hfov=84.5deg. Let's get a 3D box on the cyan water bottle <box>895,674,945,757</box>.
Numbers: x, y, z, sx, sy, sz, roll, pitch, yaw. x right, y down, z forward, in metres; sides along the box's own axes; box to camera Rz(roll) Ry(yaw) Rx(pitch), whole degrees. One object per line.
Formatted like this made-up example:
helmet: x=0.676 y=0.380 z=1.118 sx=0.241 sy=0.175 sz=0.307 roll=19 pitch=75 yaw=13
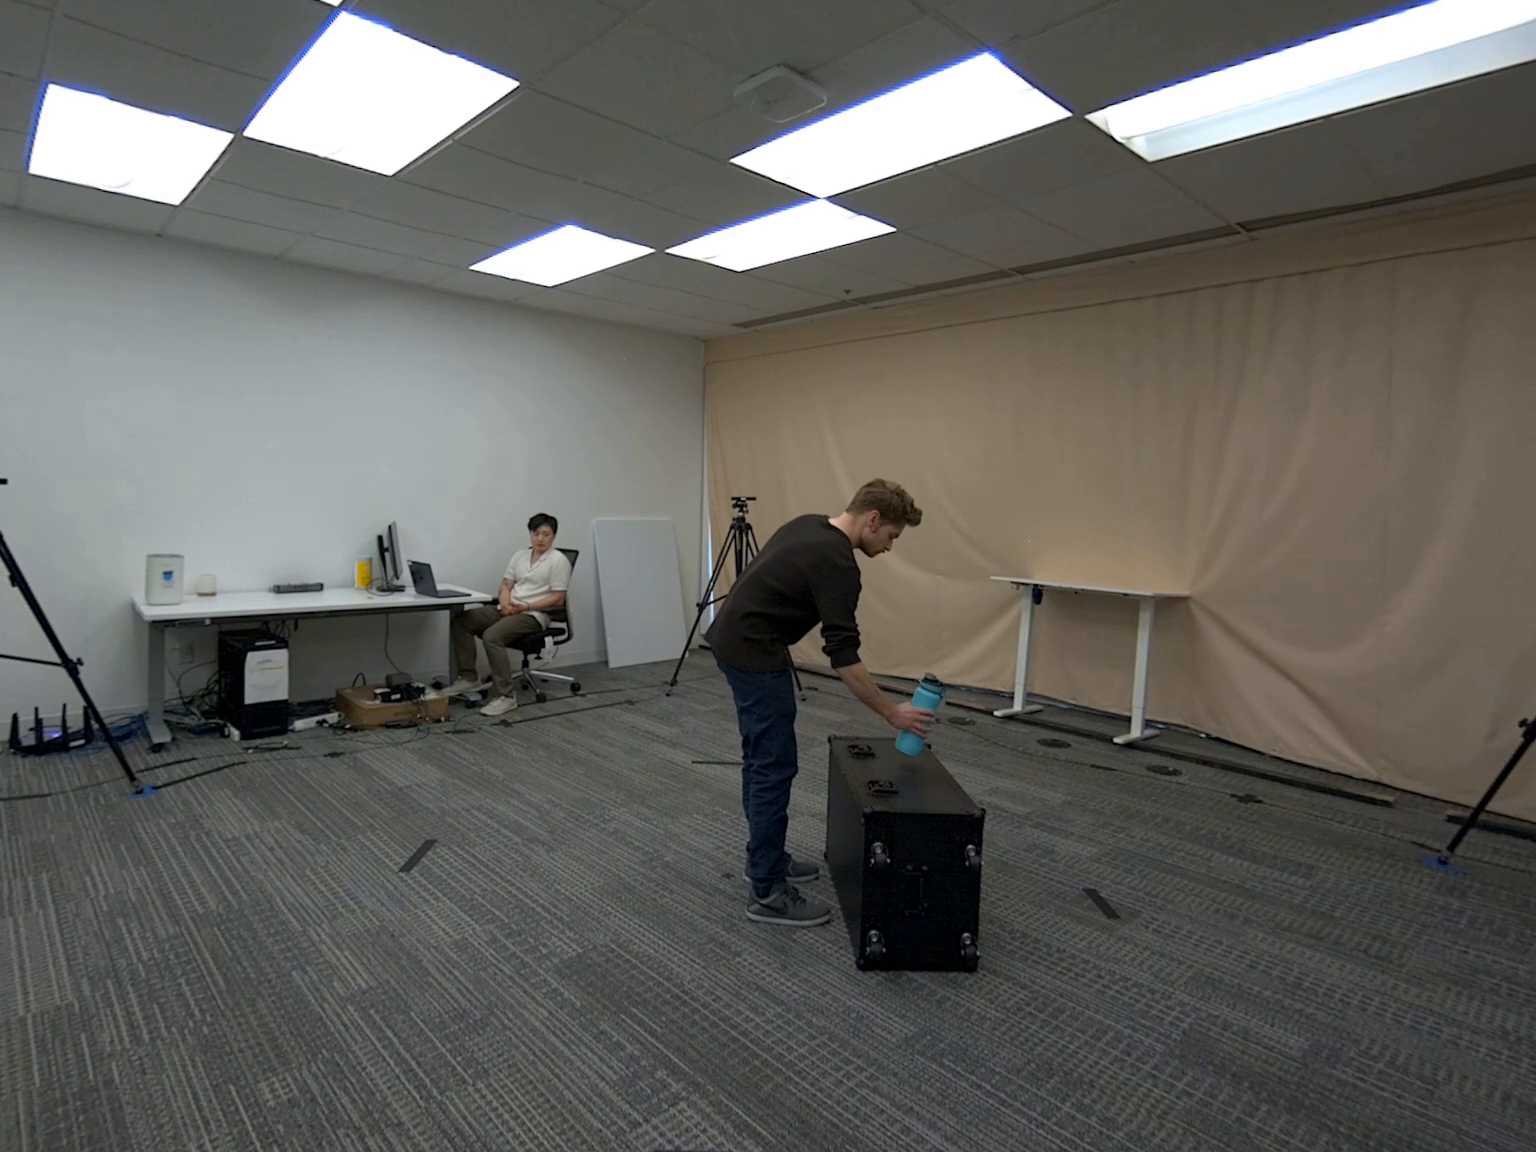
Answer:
cyan water bottle: x=0.527 y=0.473 z=2.920 sx=0.092 sy=0.283 sz=0.092 roll=21 pitch=0 yaw=-2
